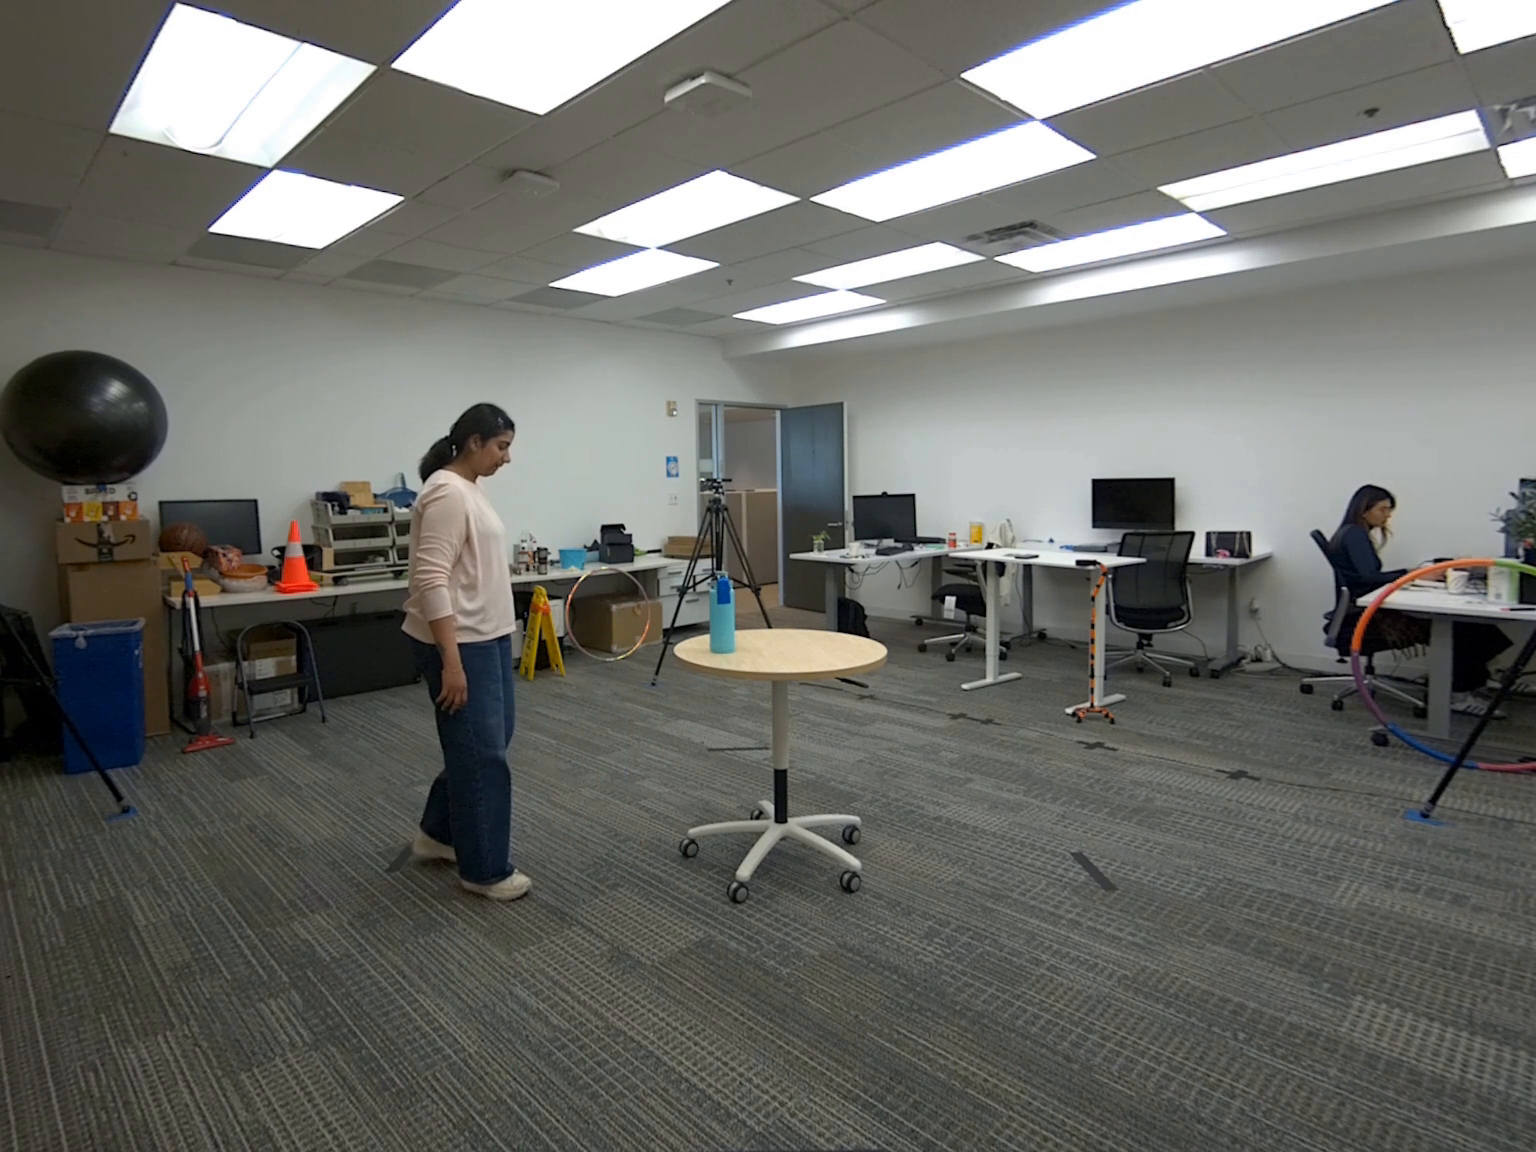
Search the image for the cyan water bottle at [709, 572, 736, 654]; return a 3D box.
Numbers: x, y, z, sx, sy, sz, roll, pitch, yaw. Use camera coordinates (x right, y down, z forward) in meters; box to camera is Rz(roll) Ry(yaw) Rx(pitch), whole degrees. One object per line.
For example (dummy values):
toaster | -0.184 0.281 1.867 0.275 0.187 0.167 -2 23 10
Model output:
cyan water bottle | -0.165 0.131 3.030 0.092 0.282 0.093 -1 5 -2
